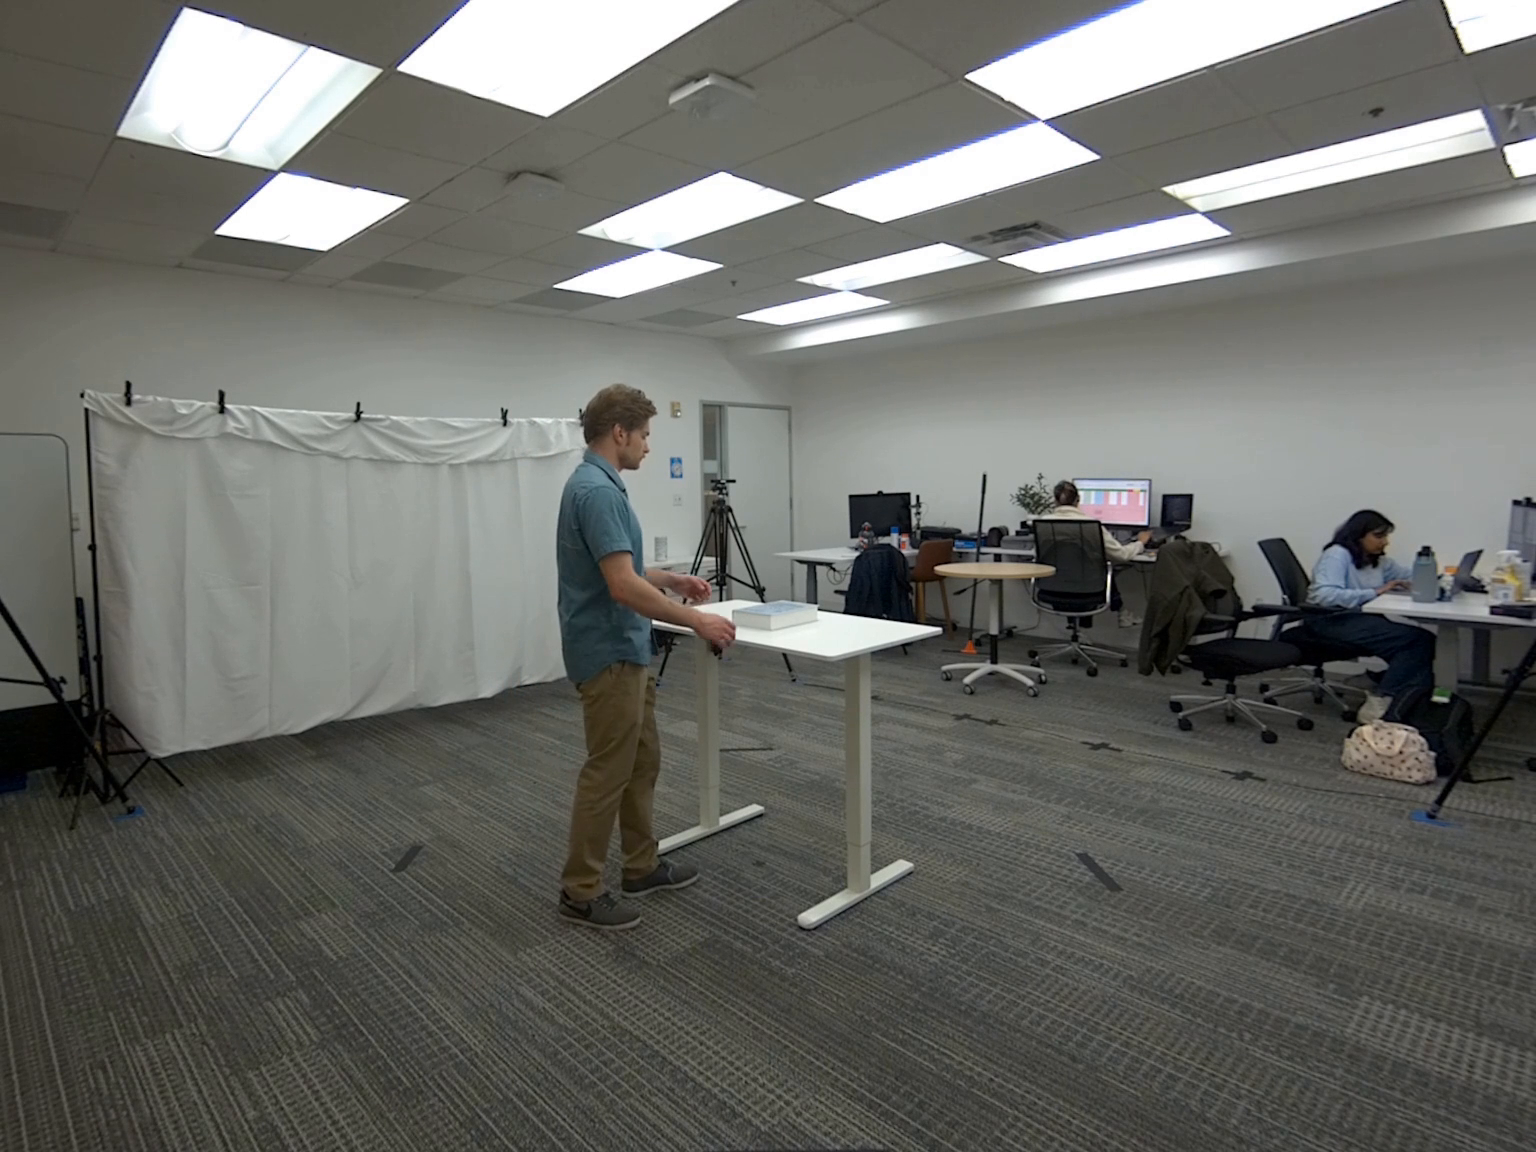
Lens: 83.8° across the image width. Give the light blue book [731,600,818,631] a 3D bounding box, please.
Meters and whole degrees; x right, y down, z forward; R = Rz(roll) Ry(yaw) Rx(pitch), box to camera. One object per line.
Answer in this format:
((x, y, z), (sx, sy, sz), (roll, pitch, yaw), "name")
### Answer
((0.030, 0.139, 3.052), (0.197, 0.059, 0.254), (5, 8, 42), "light blue book")
